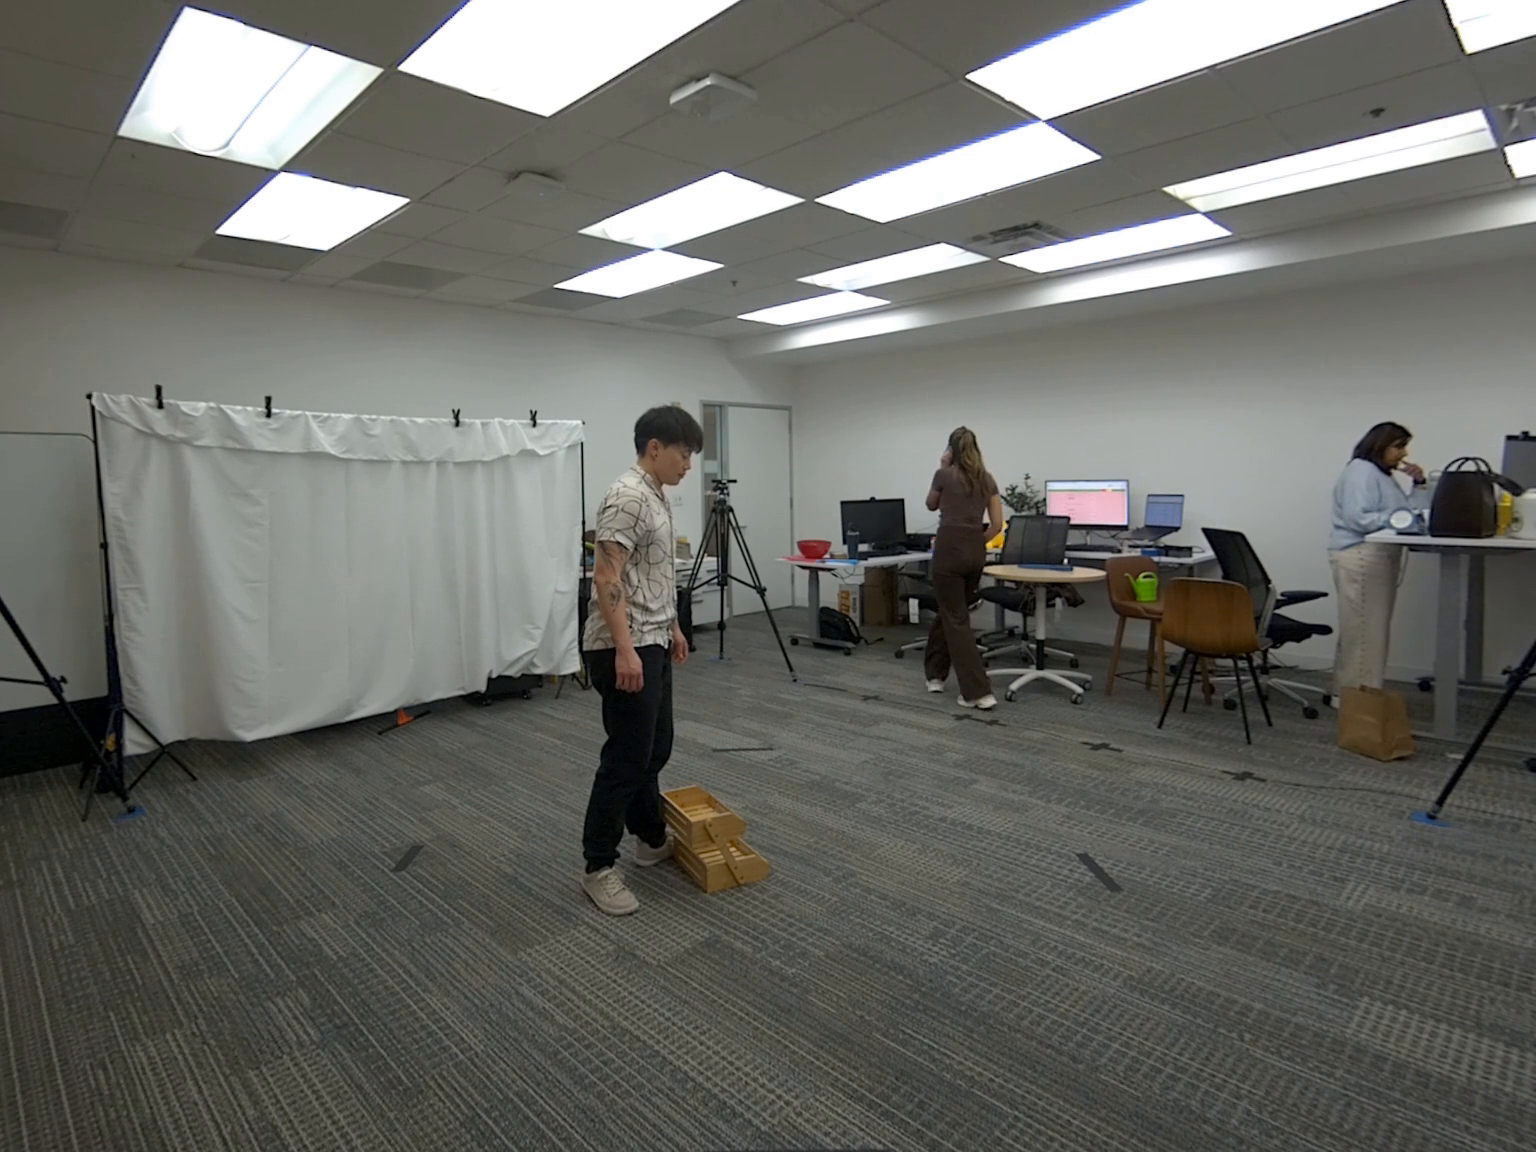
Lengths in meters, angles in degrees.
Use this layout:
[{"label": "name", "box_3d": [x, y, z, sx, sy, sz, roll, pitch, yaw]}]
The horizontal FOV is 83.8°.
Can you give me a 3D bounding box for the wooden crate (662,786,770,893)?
[{"label": "wooden crate", "box_3d": [-0.186, 0.923, 3.062, 0.296, 0.272, 0.333, -5, 7, -27]}]
